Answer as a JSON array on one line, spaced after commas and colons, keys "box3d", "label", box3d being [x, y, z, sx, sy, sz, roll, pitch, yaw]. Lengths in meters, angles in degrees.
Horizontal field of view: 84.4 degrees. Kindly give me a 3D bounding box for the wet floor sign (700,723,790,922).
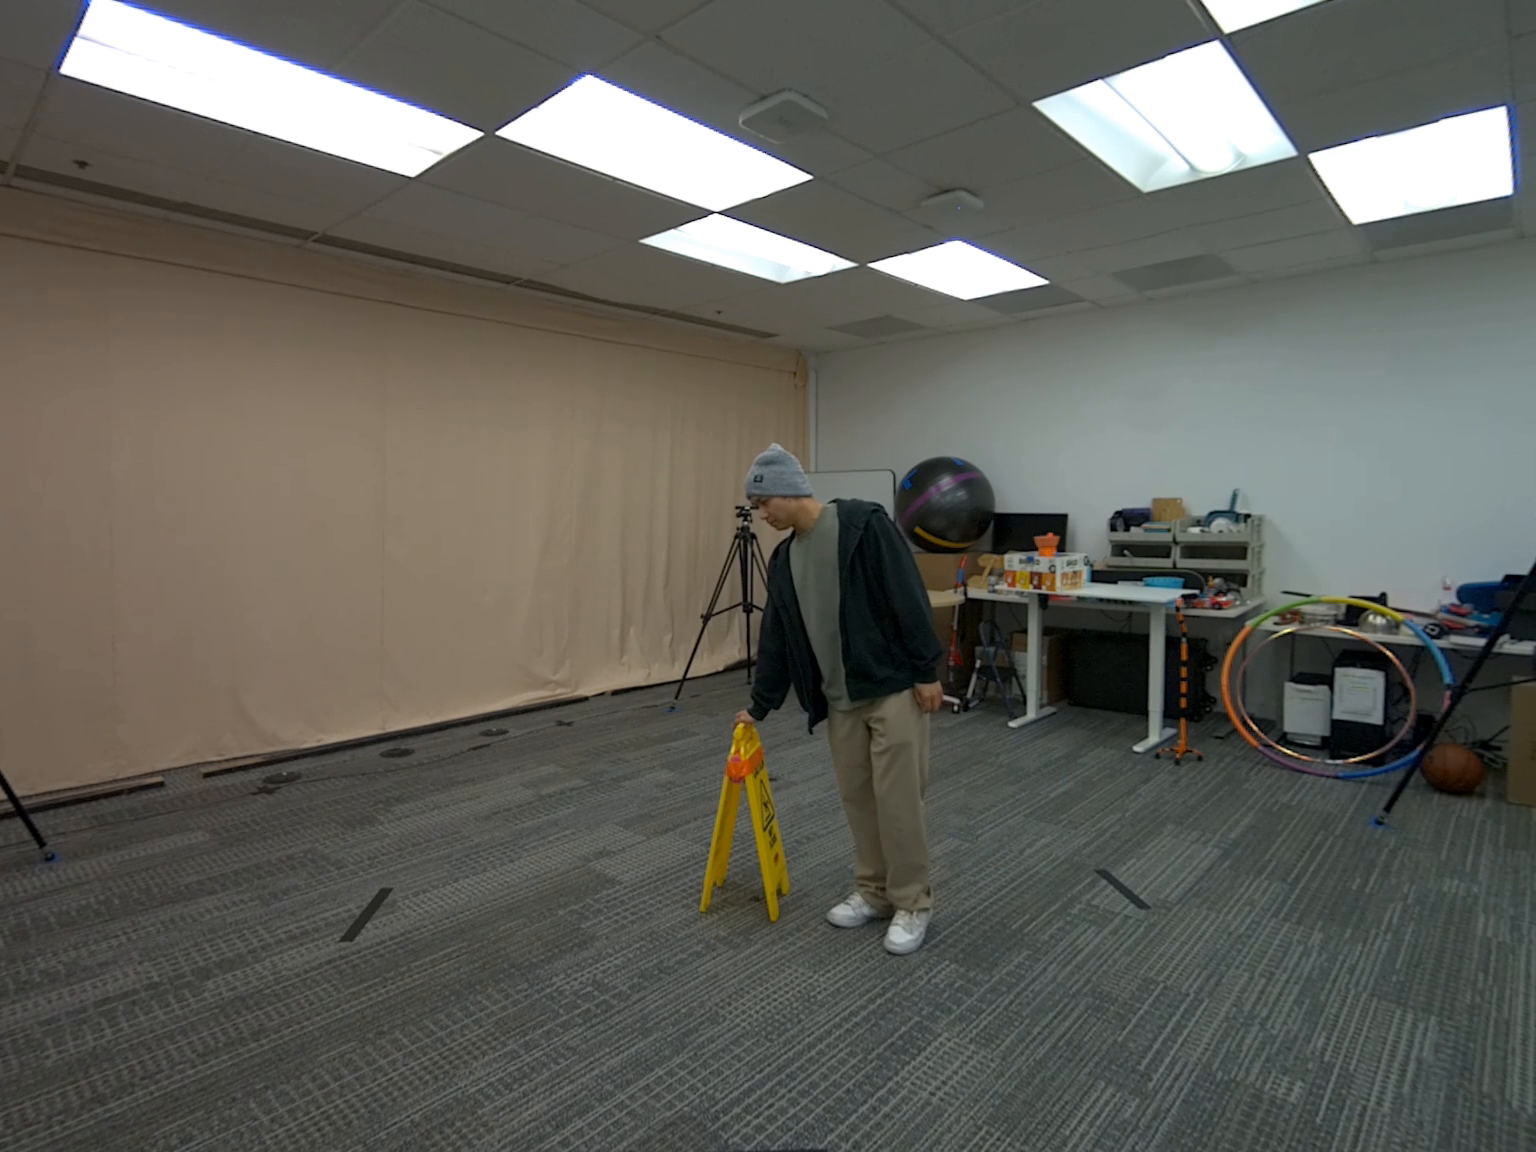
[{"box3d": [-0.079, 0.819, 2.965, 0.294, 0.645, 0.278, -1, 1, 15], "label": "wet floor sign"}]
